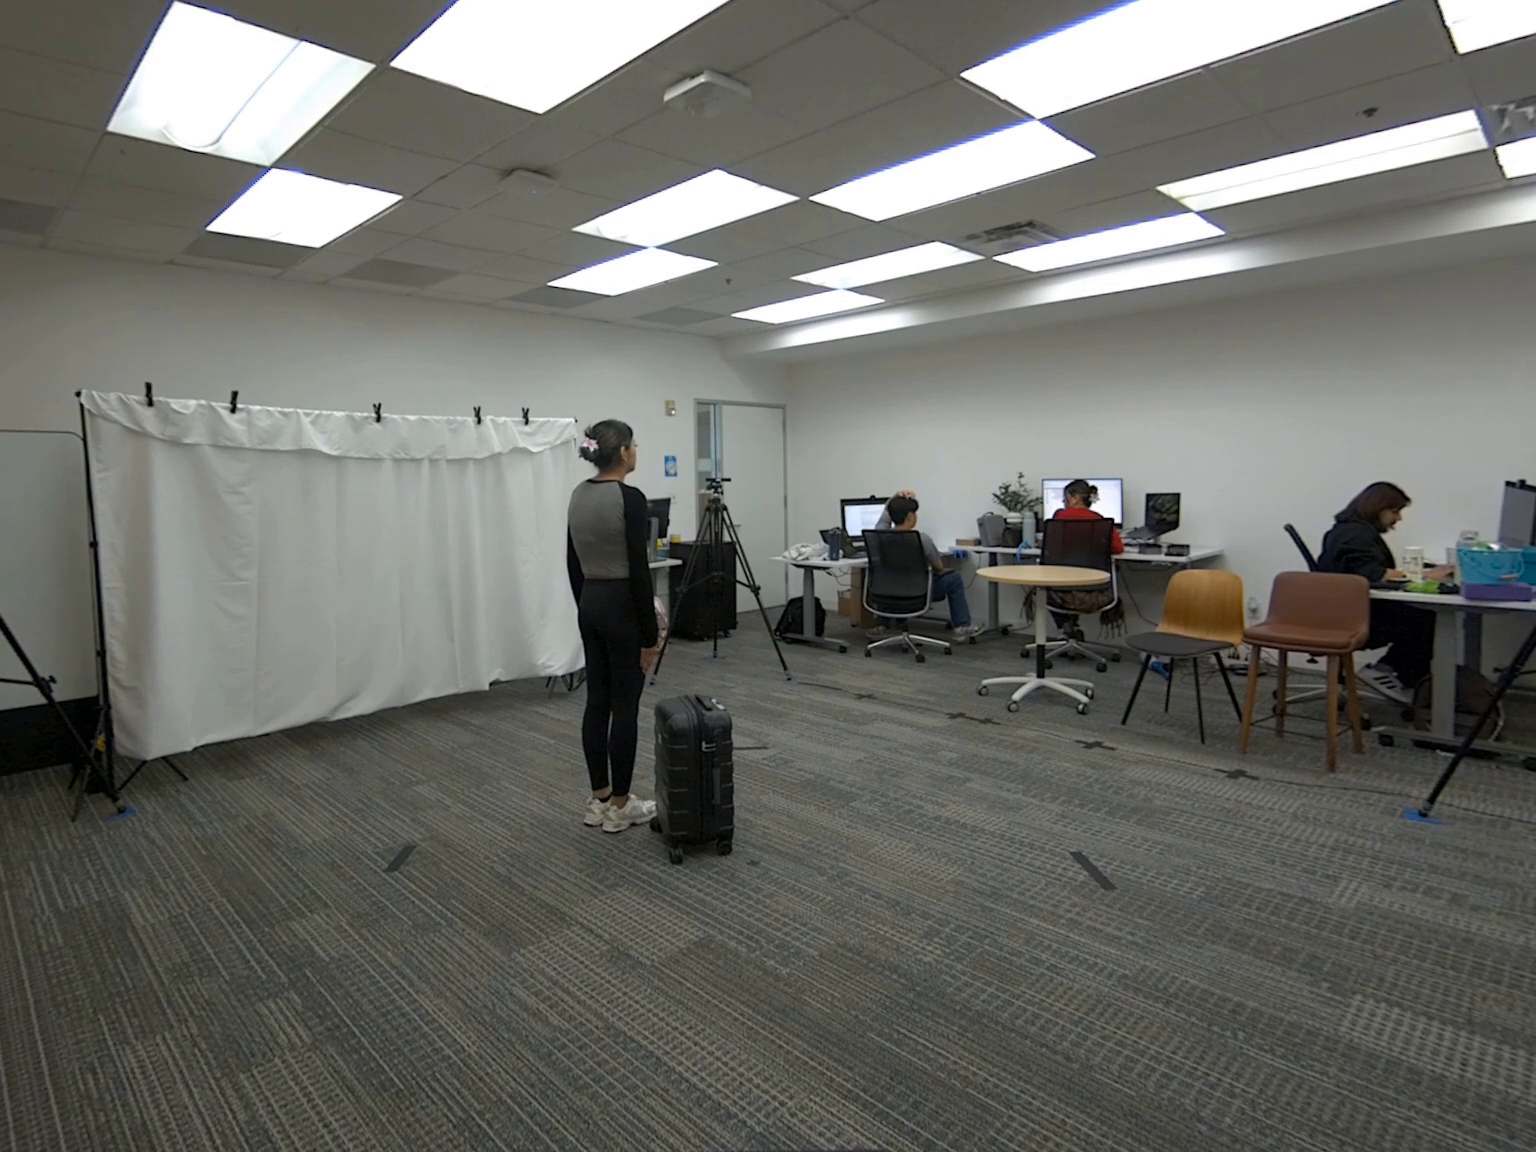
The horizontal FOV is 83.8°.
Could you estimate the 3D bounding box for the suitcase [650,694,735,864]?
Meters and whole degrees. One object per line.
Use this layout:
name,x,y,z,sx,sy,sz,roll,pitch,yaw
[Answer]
suitcase,-0.292,0.748,3.284,0.244,0.547,0.383,-2,5,-18
